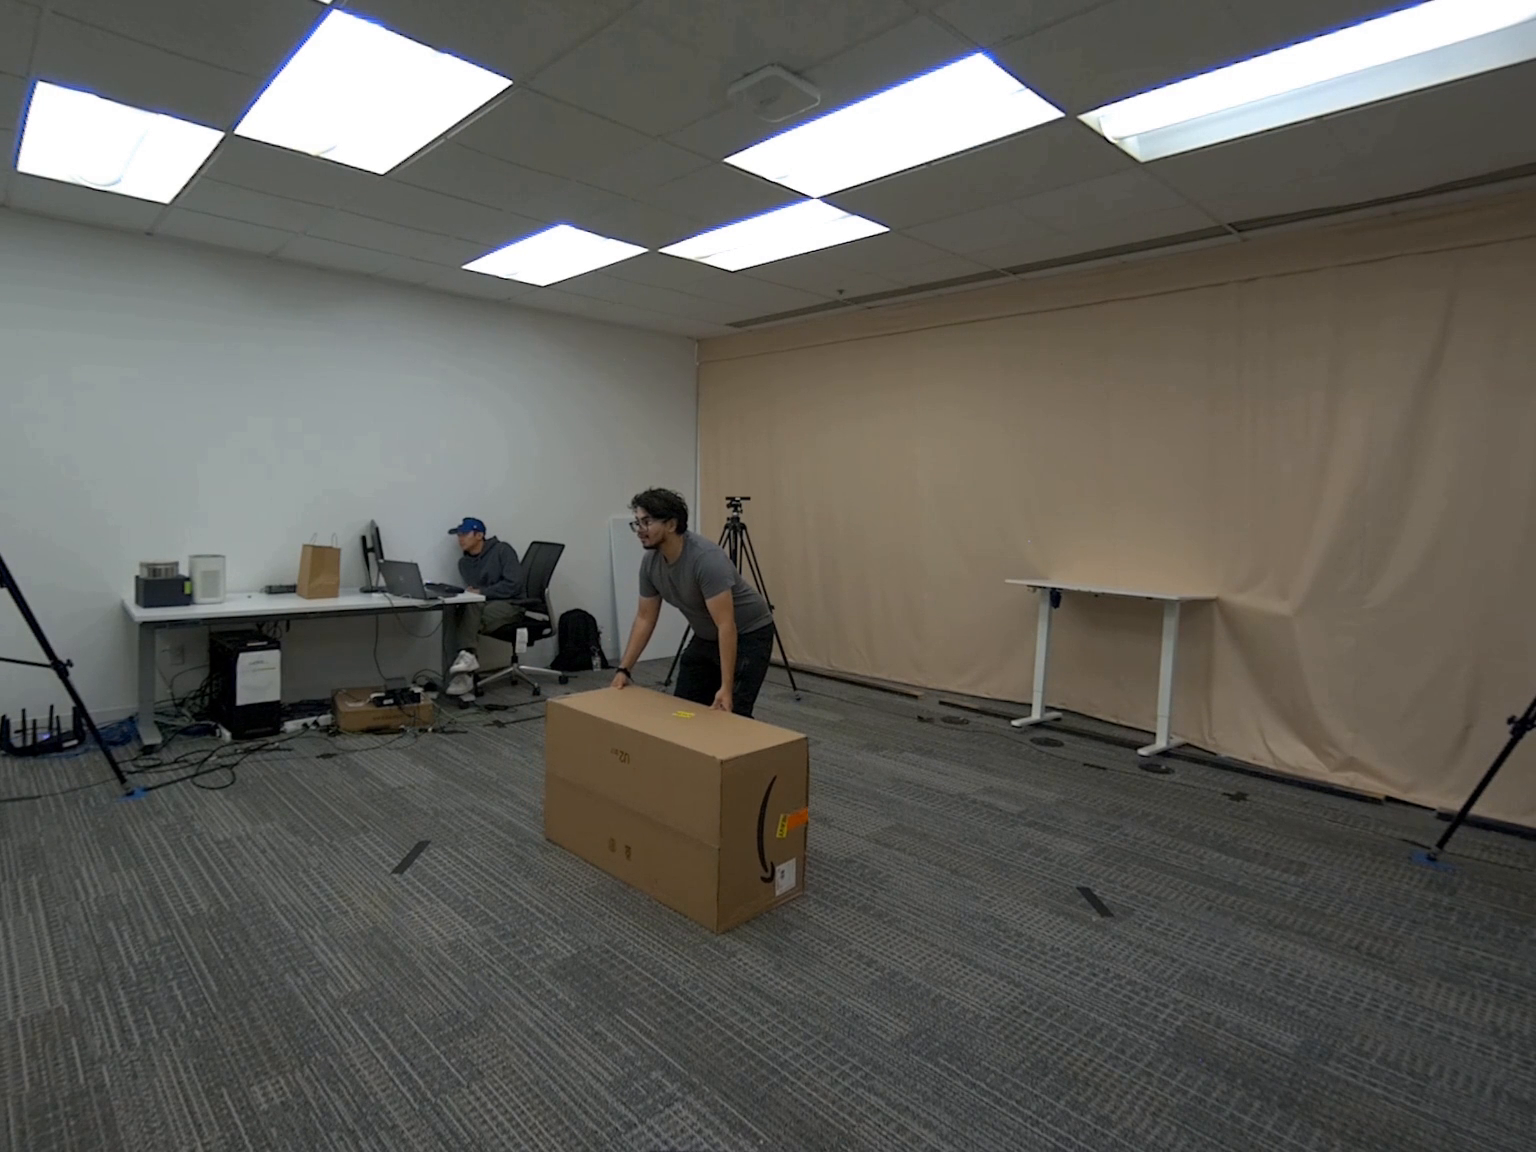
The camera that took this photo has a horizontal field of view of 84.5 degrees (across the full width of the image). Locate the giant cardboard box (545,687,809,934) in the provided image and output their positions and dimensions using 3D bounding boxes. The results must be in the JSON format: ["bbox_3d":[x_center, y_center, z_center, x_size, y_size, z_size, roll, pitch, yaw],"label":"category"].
[{"bbox_3d":[-0.385,0.811,3.167,1.052,0.576,0.416,6,6,44],"label":"giant cardboard box"}]
